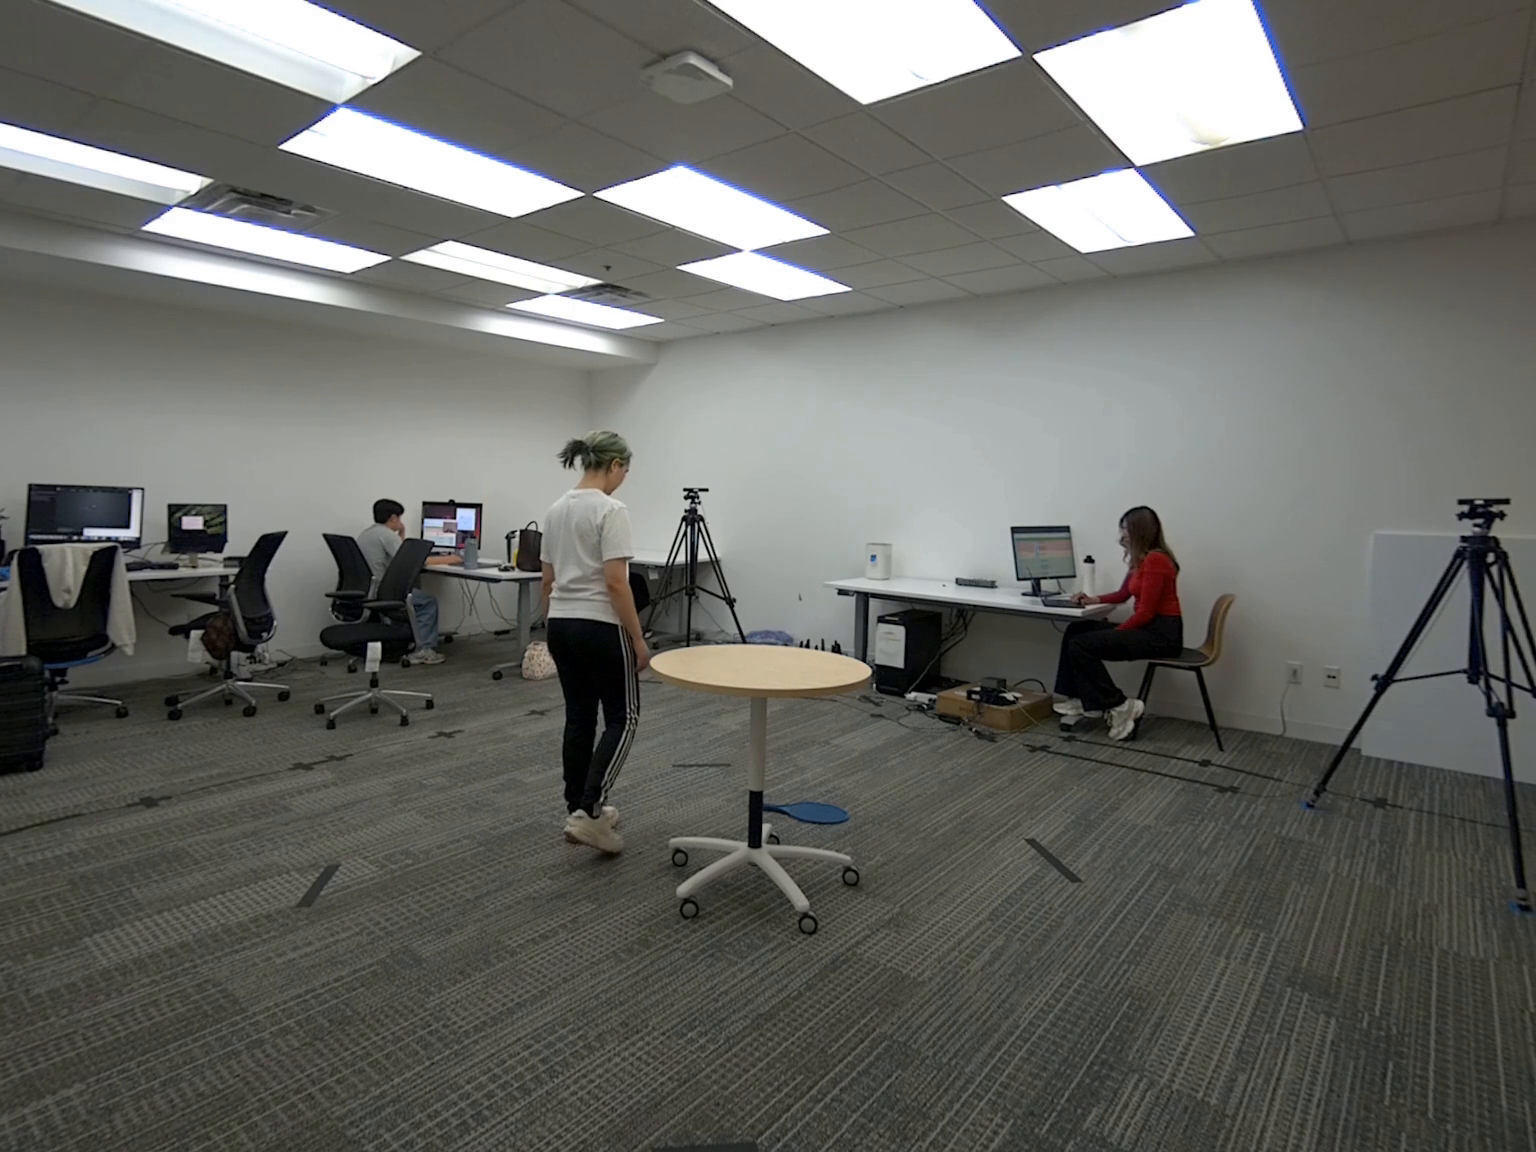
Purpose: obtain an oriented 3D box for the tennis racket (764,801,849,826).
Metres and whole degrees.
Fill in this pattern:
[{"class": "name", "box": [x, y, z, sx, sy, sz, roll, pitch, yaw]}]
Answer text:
[{"class": "tennis racket", "box": [0.125, 1.009, 3.669, 0.438, 0.031, 0.212, 4, 6, 9]}]
